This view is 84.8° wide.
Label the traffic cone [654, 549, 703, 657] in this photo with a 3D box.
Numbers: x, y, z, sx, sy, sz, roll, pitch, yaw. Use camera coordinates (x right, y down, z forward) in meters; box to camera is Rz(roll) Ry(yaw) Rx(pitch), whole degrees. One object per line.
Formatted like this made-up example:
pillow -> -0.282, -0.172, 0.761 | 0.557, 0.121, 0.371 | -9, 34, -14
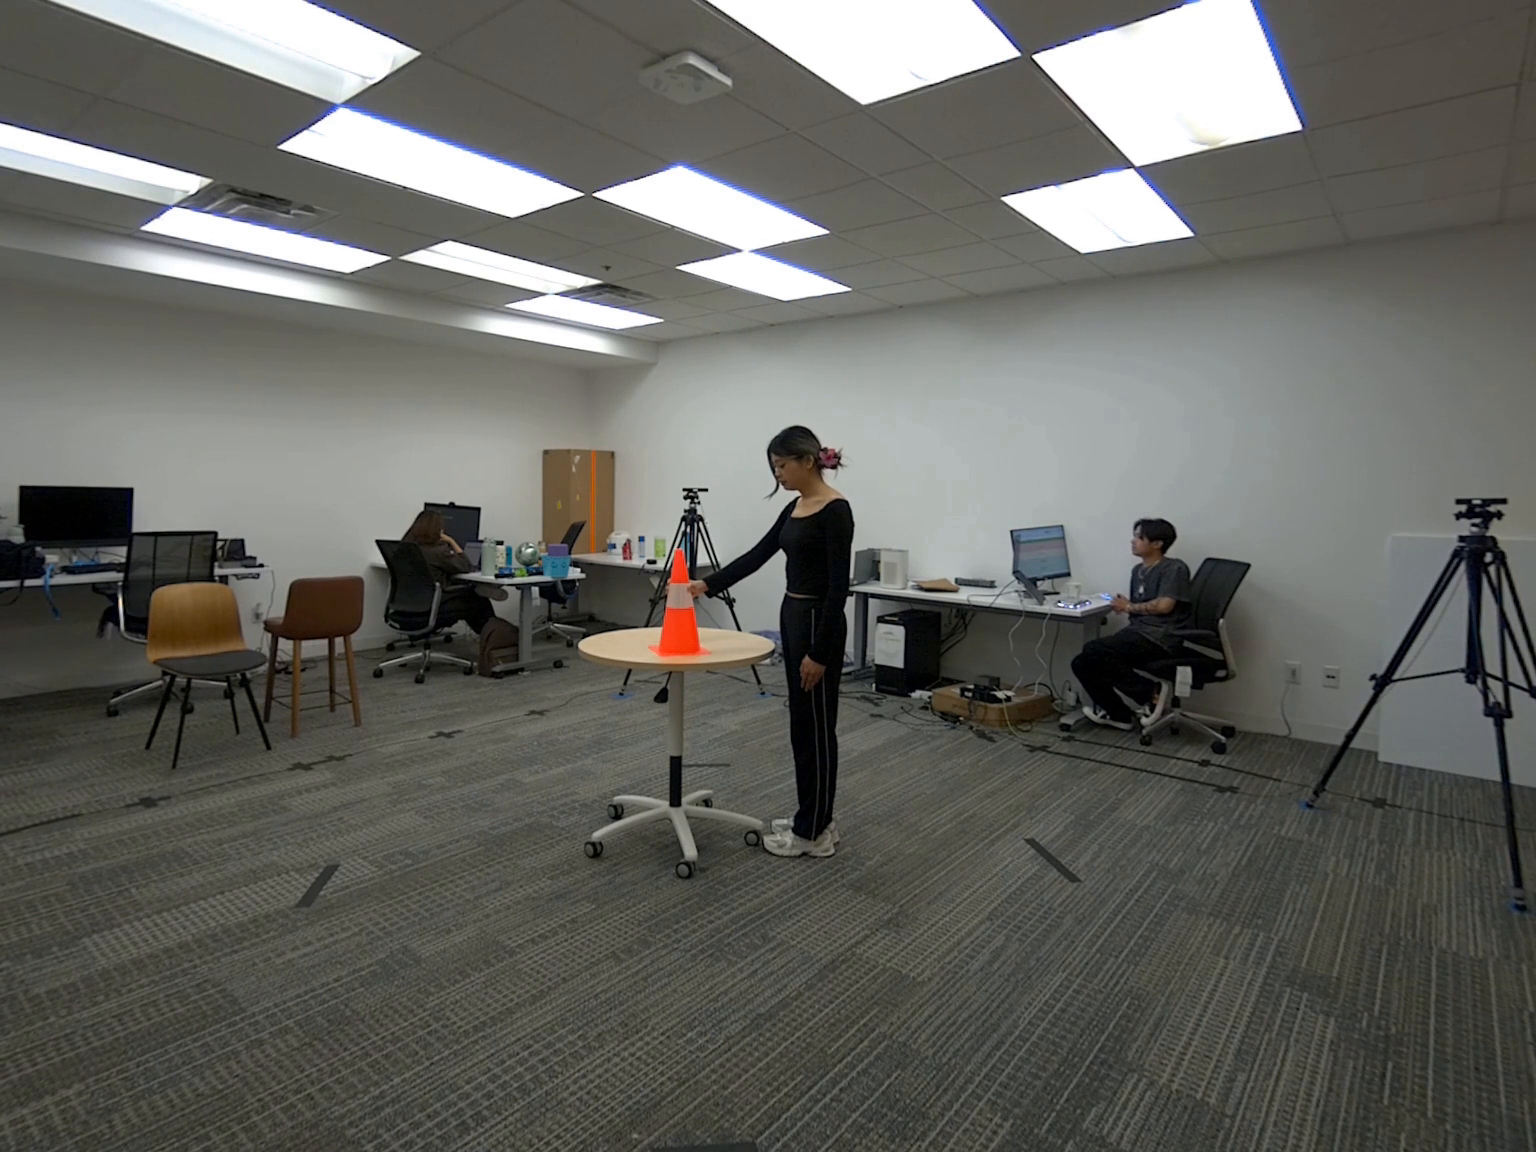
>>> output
traffic cone -> -0.341, 0.088, 3.188 | 0.199, 0.383, 0.209 | -1, 3, -21
